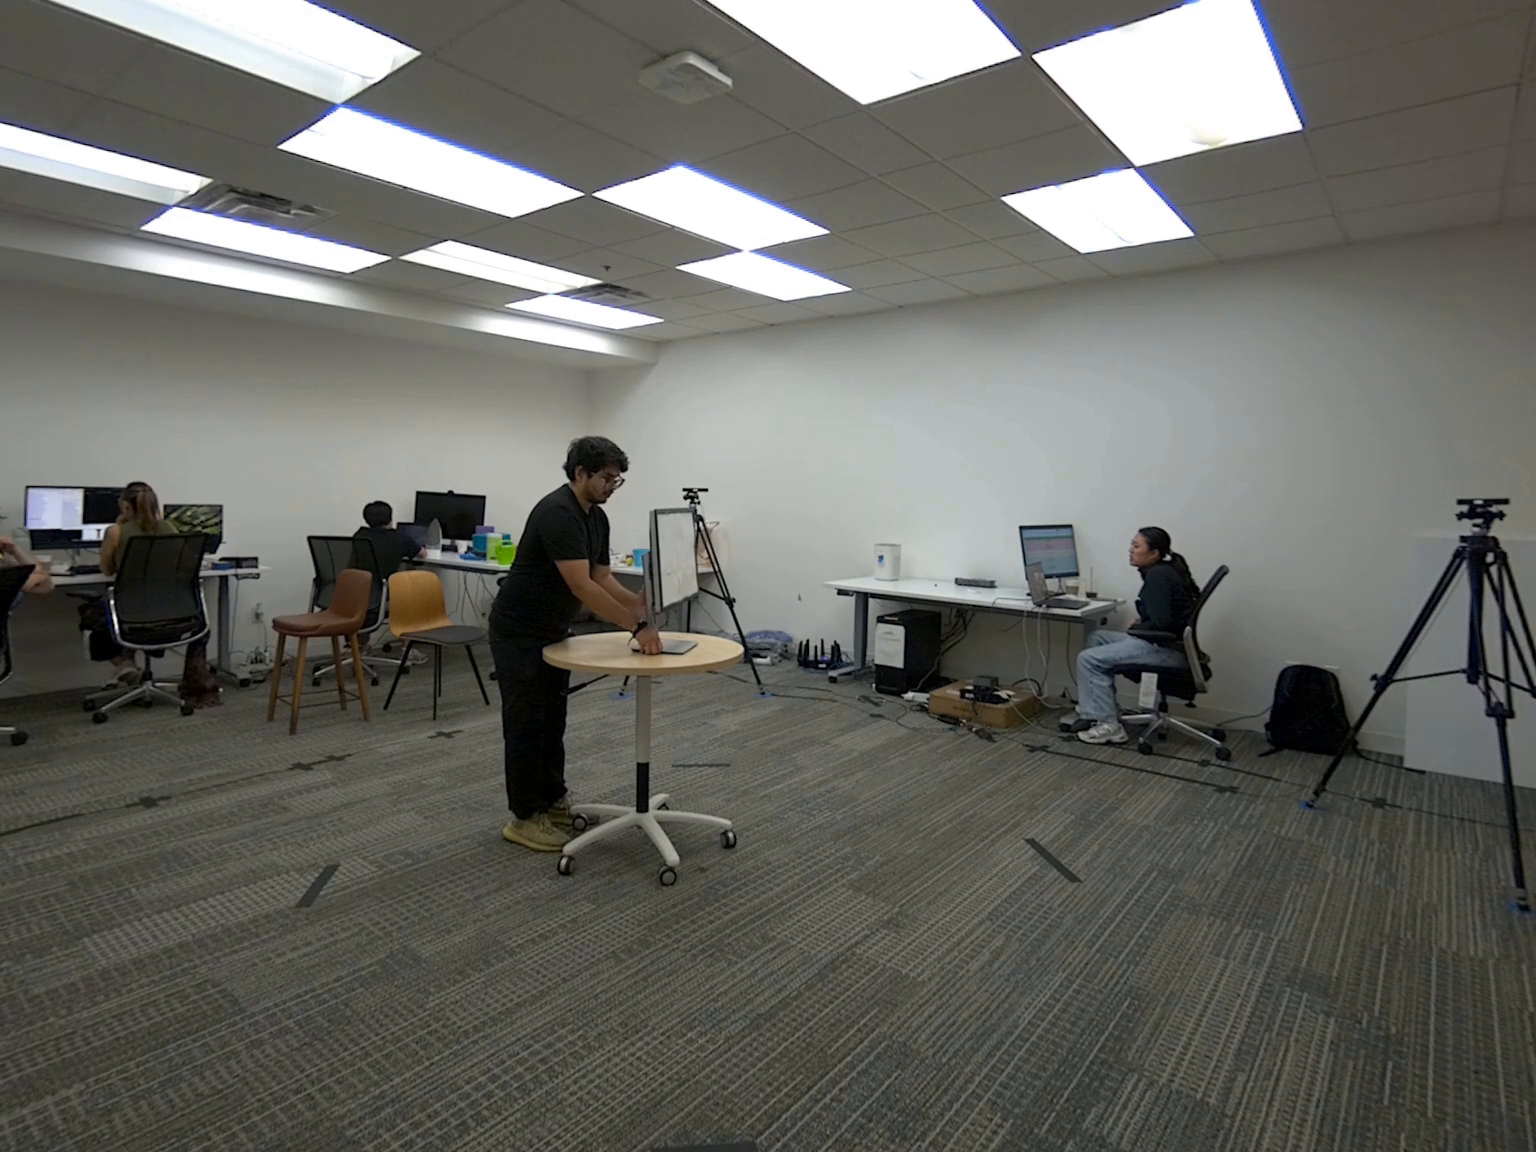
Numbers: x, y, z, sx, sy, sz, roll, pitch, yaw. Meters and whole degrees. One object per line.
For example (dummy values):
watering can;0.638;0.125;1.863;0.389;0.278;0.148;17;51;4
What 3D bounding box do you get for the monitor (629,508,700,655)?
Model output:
monitor;-0.422;0.011;3.254;0.213;0.553;0.560;0;3;10
